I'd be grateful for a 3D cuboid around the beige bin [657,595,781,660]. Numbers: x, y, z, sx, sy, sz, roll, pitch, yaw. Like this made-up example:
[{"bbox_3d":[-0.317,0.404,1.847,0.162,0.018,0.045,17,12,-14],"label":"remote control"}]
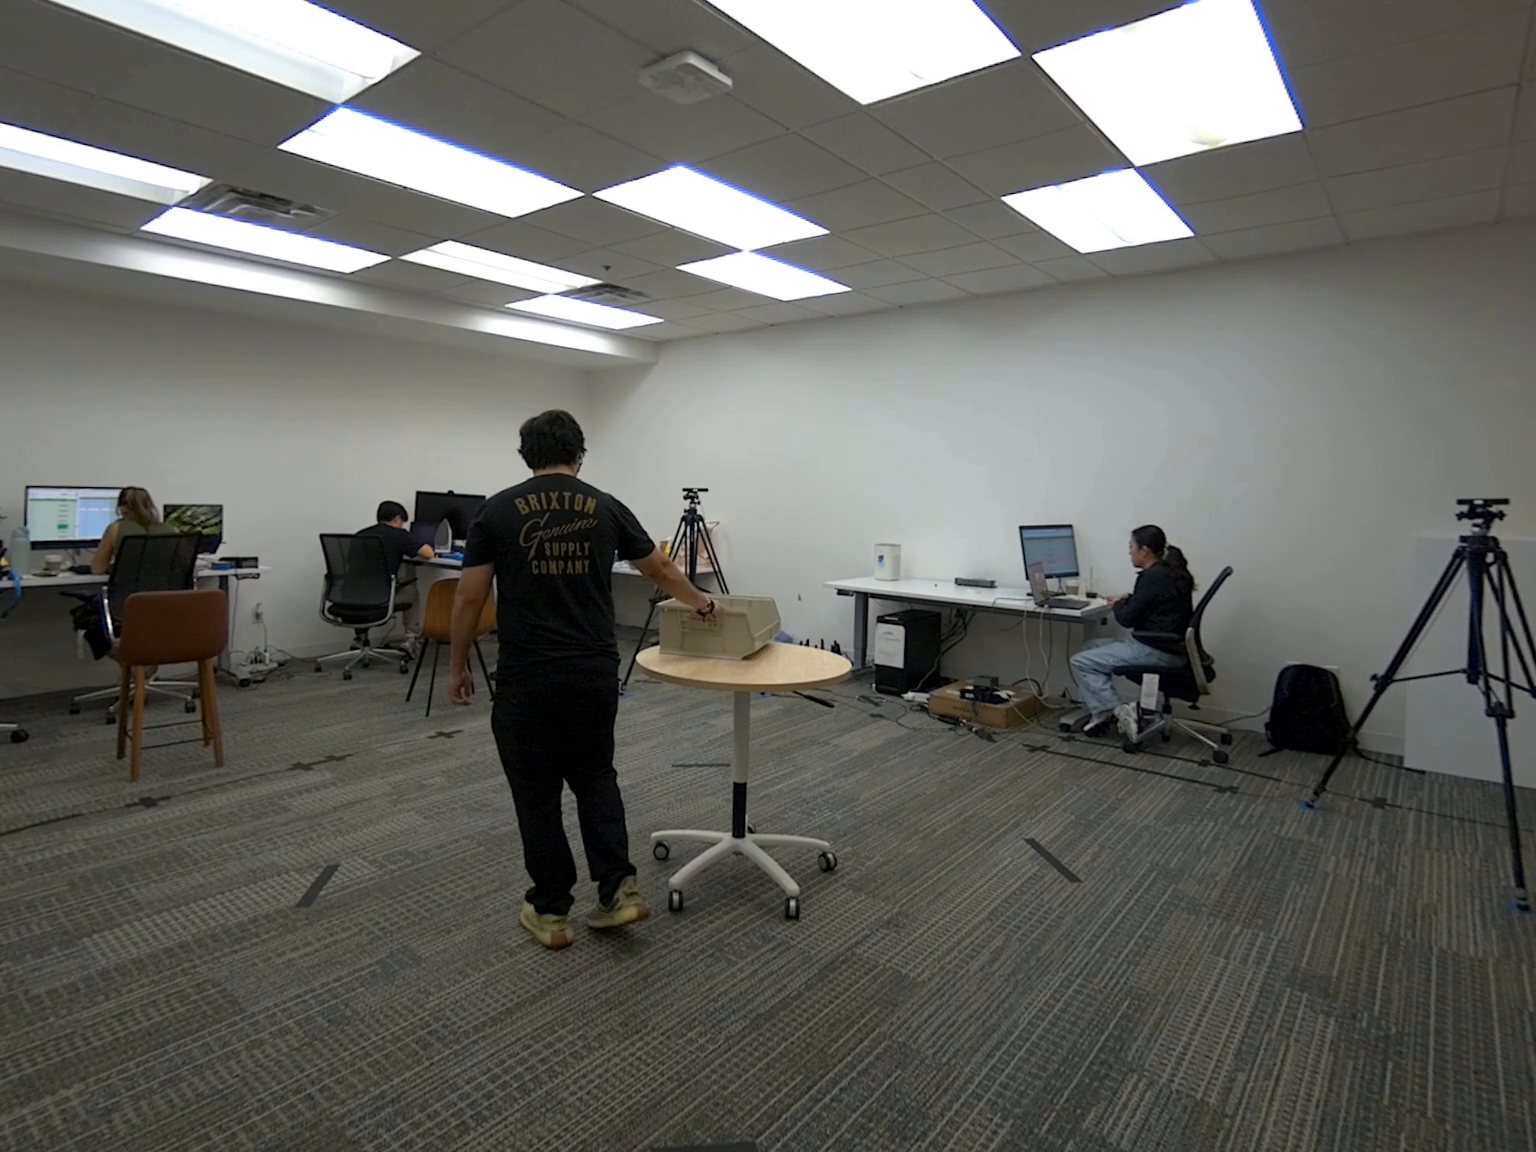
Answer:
[{"bbox_3d":[-0.188,0.183,3.239,0.384,0.188,0.417,1,5,15],"label":"beige bin"}]
